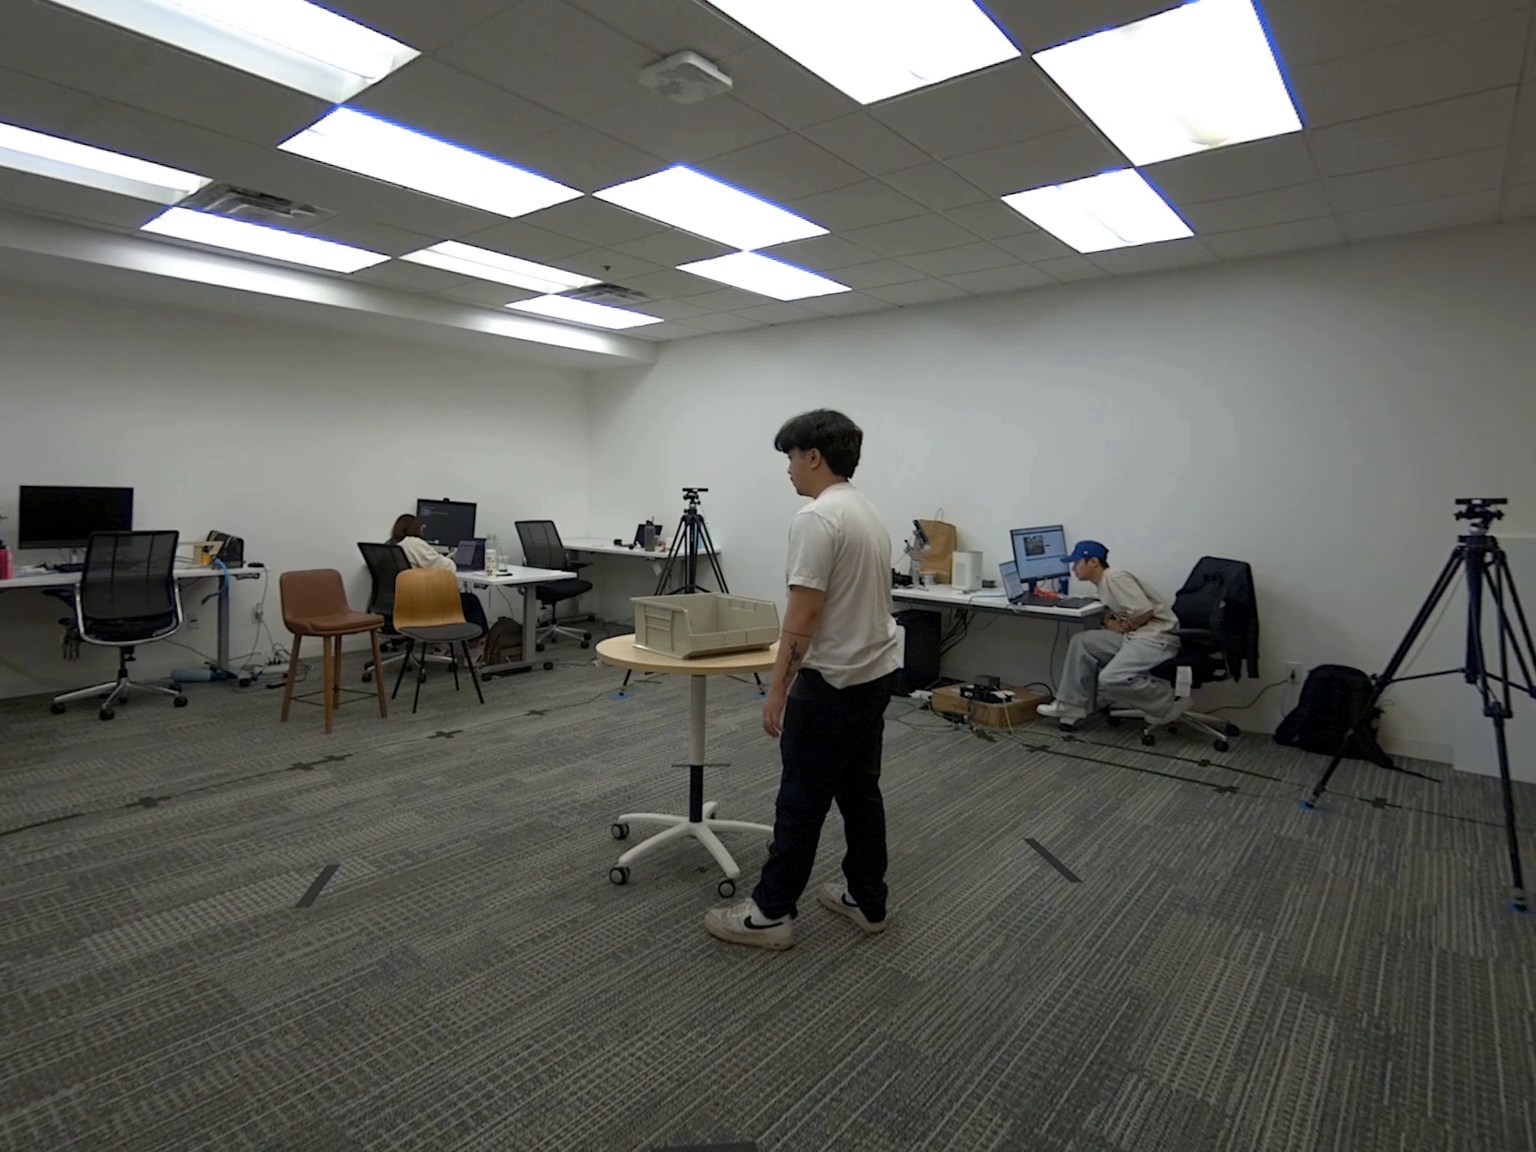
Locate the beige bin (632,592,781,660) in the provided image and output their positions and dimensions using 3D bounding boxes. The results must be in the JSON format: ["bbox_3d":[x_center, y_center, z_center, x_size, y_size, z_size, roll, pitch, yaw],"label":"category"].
[{"bbox_3d":[-0.244,0.177,3.147,0.410,0.188,0.390,-4,5,-40],"label":"beige bin"}]
